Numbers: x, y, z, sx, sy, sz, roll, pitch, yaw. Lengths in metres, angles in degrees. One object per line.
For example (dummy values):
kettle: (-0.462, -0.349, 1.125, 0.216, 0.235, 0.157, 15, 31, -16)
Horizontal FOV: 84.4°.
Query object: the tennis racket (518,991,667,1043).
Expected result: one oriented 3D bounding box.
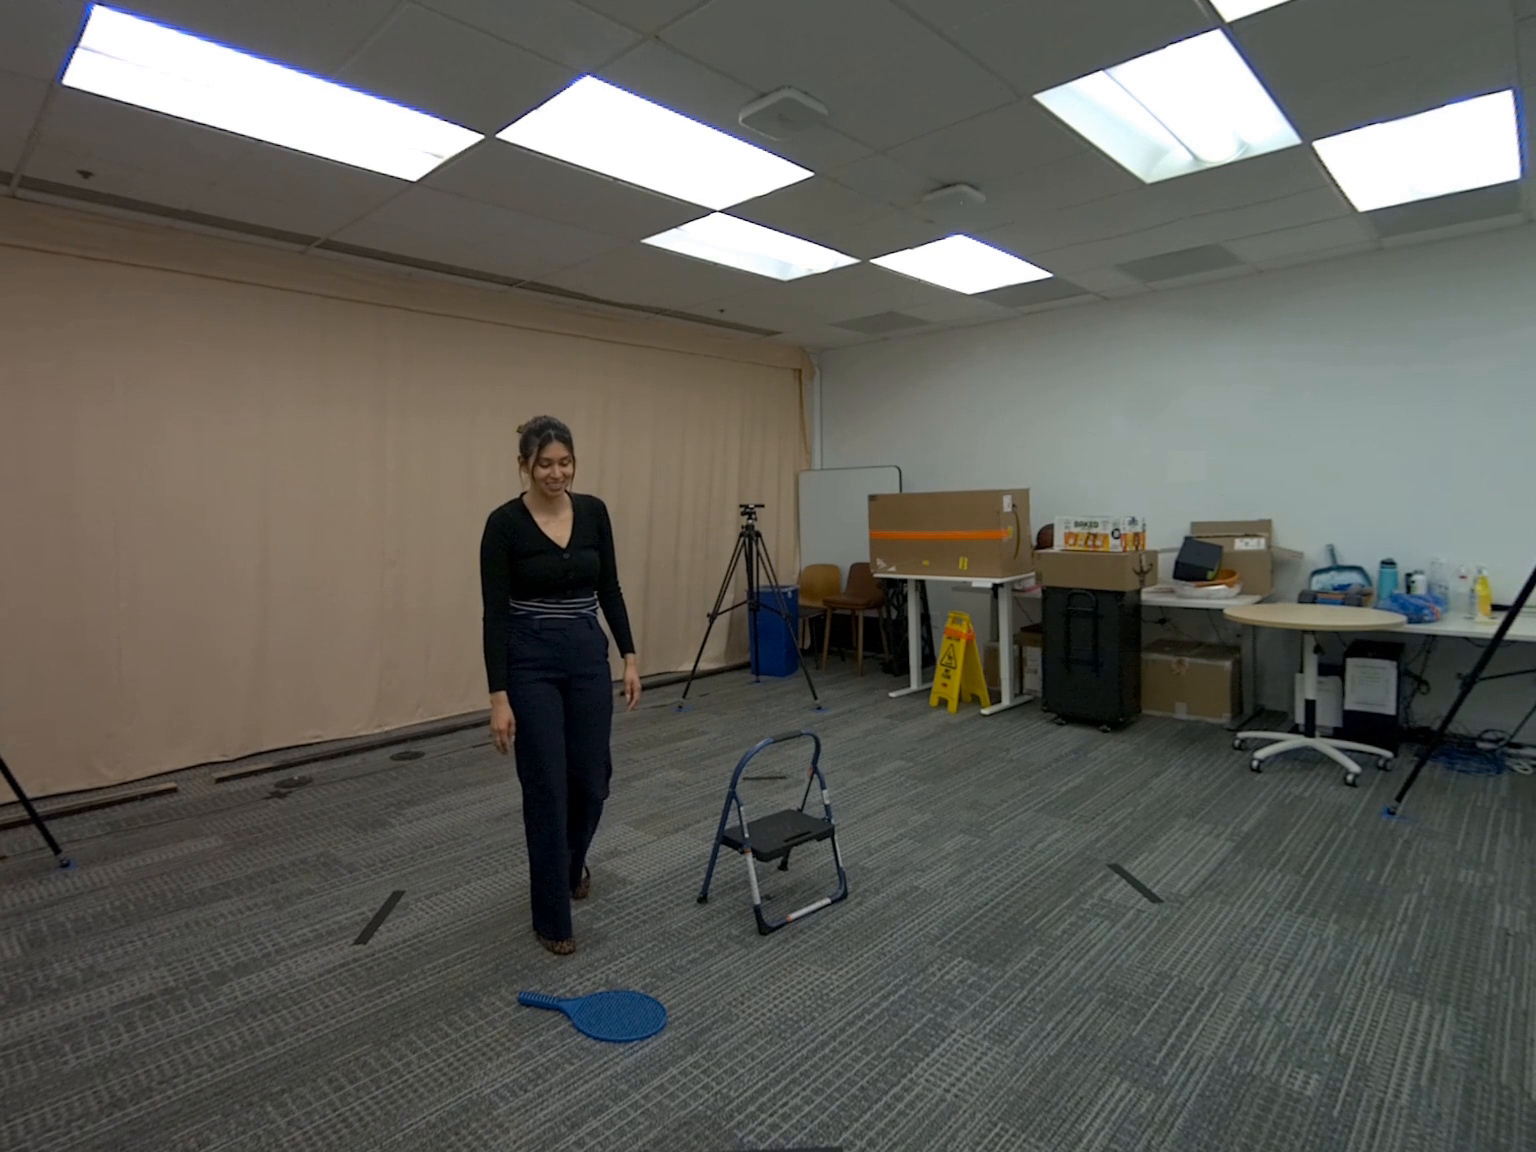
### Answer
tennis racket: (-0.482, 1.194, 2.314, 0.439, 0.031, 0.211, 1, 6, 12)
